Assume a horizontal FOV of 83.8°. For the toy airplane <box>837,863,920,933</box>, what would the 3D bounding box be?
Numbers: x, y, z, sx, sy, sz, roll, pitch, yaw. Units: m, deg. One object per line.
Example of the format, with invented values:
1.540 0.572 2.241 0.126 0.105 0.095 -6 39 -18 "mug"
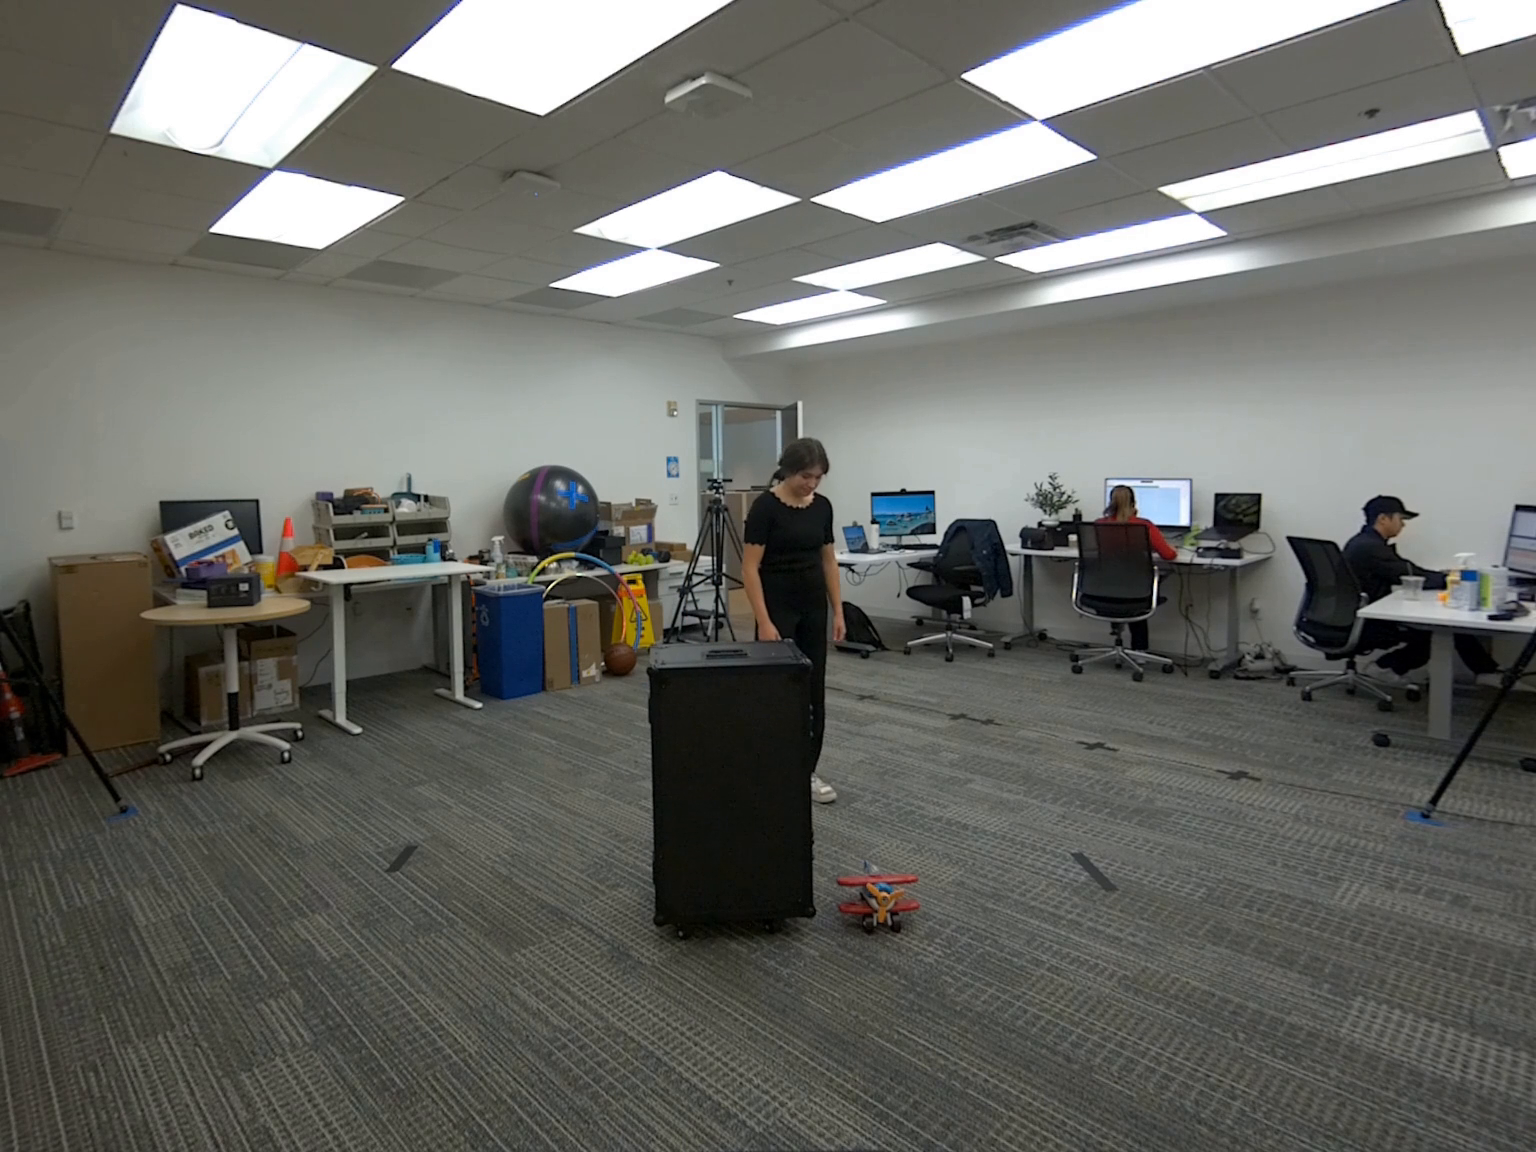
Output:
0.314 1.008 2.708 0.245 0.155 0.267 -5 8 -31 "toy airplane"
